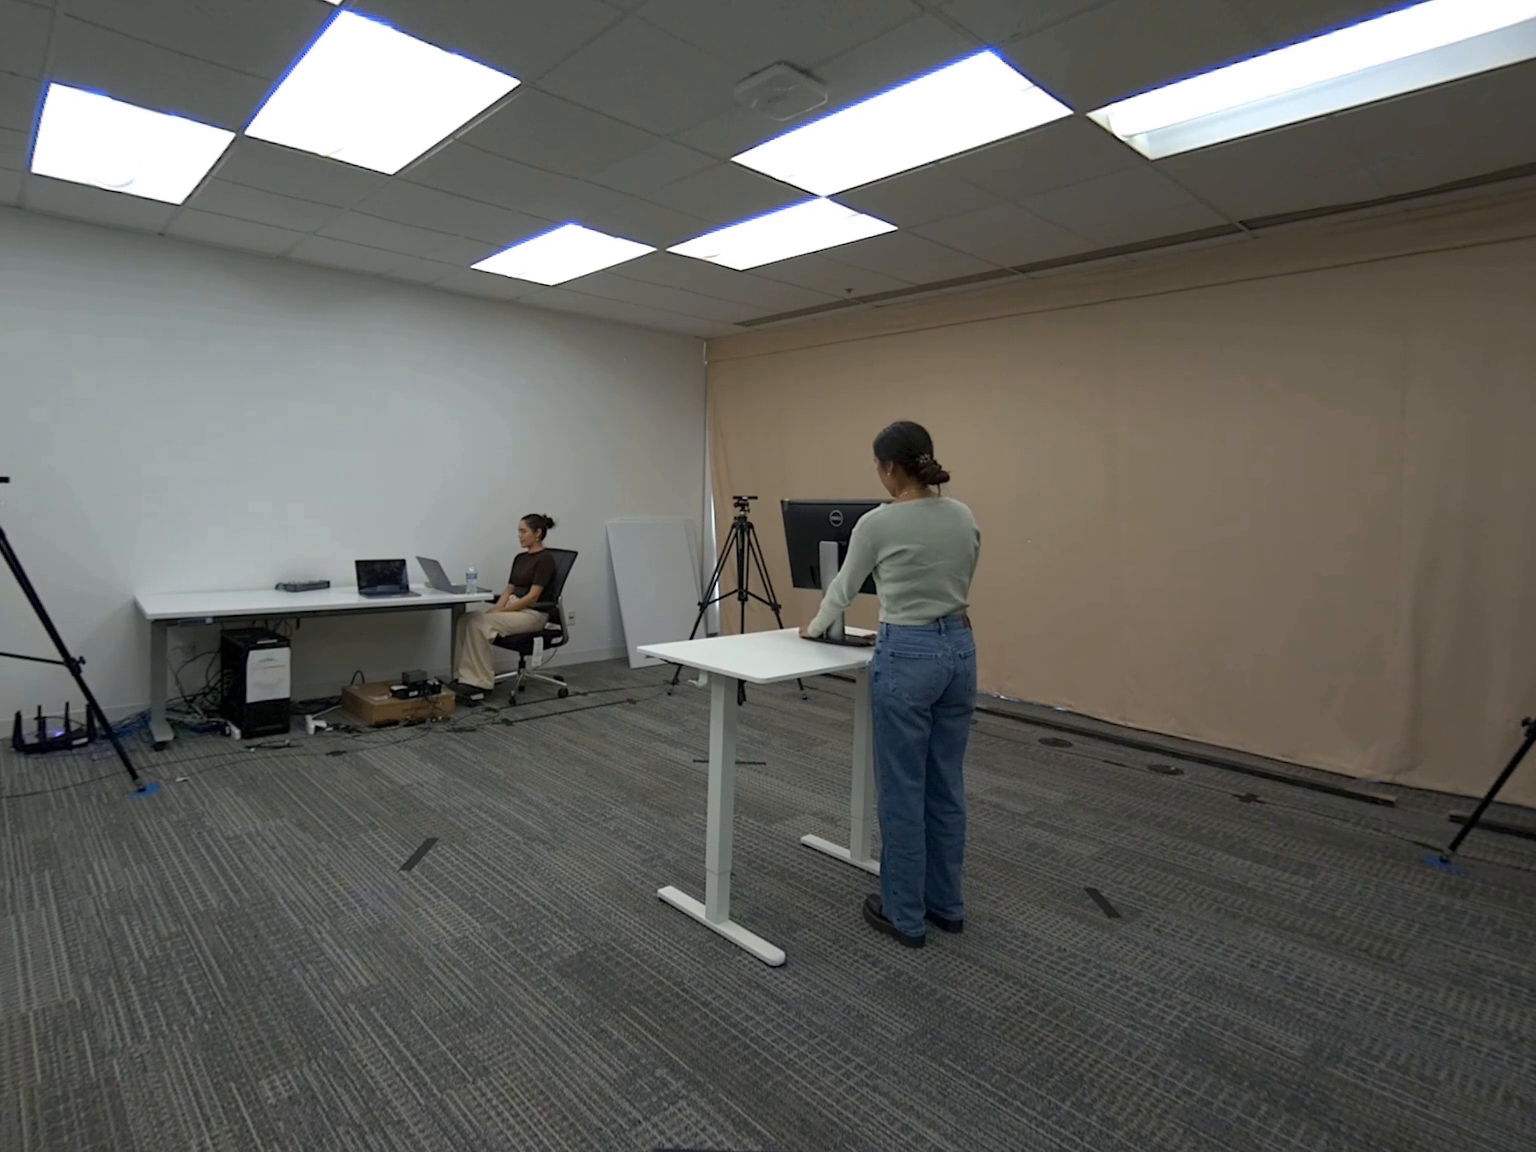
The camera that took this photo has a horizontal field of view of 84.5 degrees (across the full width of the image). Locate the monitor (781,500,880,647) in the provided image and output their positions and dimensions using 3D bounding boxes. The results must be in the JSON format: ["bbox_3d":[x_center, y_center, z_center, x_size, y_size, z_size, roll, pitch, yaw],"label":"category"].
[{"bbox_3d":[0.259,-0.020,3.039,0.543,0.516,0.170,3,0,41],"label":"monitor"}]
